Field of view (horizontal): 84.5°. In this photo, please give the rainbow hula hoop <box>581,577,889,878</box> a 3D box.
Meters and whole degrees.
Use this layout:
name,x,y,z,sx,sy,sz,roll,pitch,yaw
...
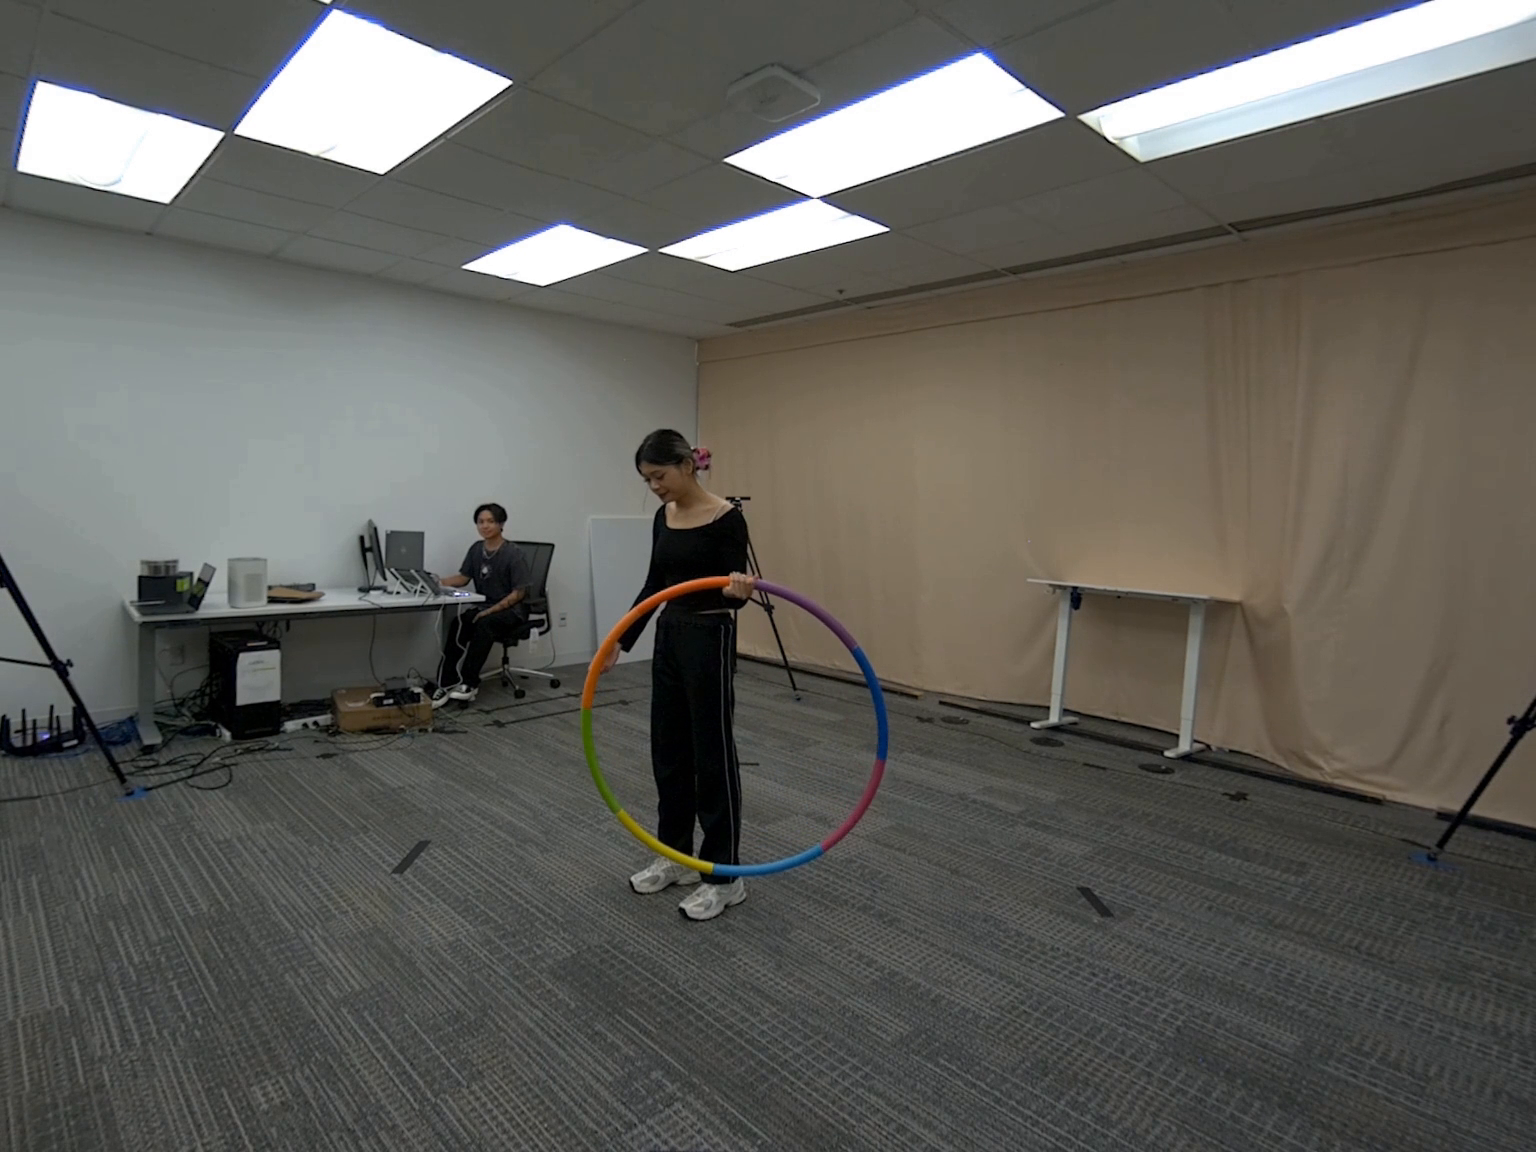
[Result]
name,x,y,z,sx,sy,sz,roll,pitch,yaw
rainbow hula hoop,-0.117,0.488,2.649,0.983,0.972,0.035,2,9,6
